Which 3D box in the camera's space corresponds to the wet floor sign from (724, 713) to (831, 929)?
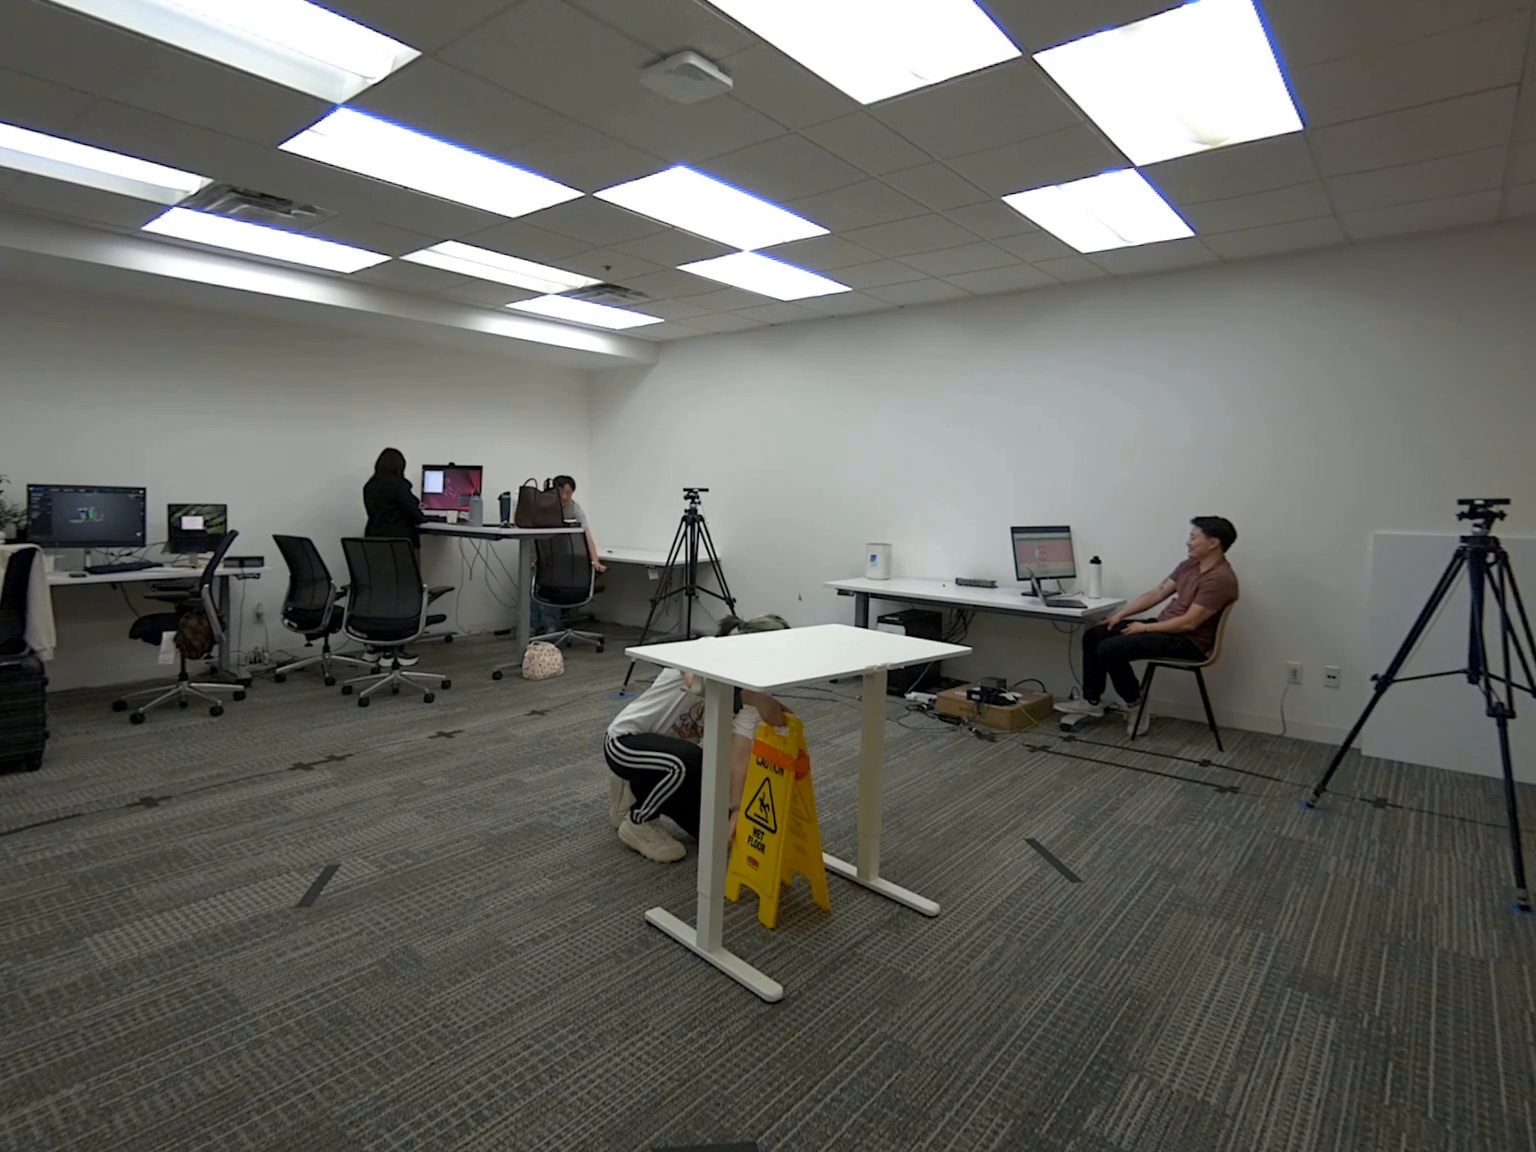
[{"bbox_3d":[0.025,0.773,2.846,0.281,0.644,0.291,-2,4,-34],"label":"wet floor sign"}]
